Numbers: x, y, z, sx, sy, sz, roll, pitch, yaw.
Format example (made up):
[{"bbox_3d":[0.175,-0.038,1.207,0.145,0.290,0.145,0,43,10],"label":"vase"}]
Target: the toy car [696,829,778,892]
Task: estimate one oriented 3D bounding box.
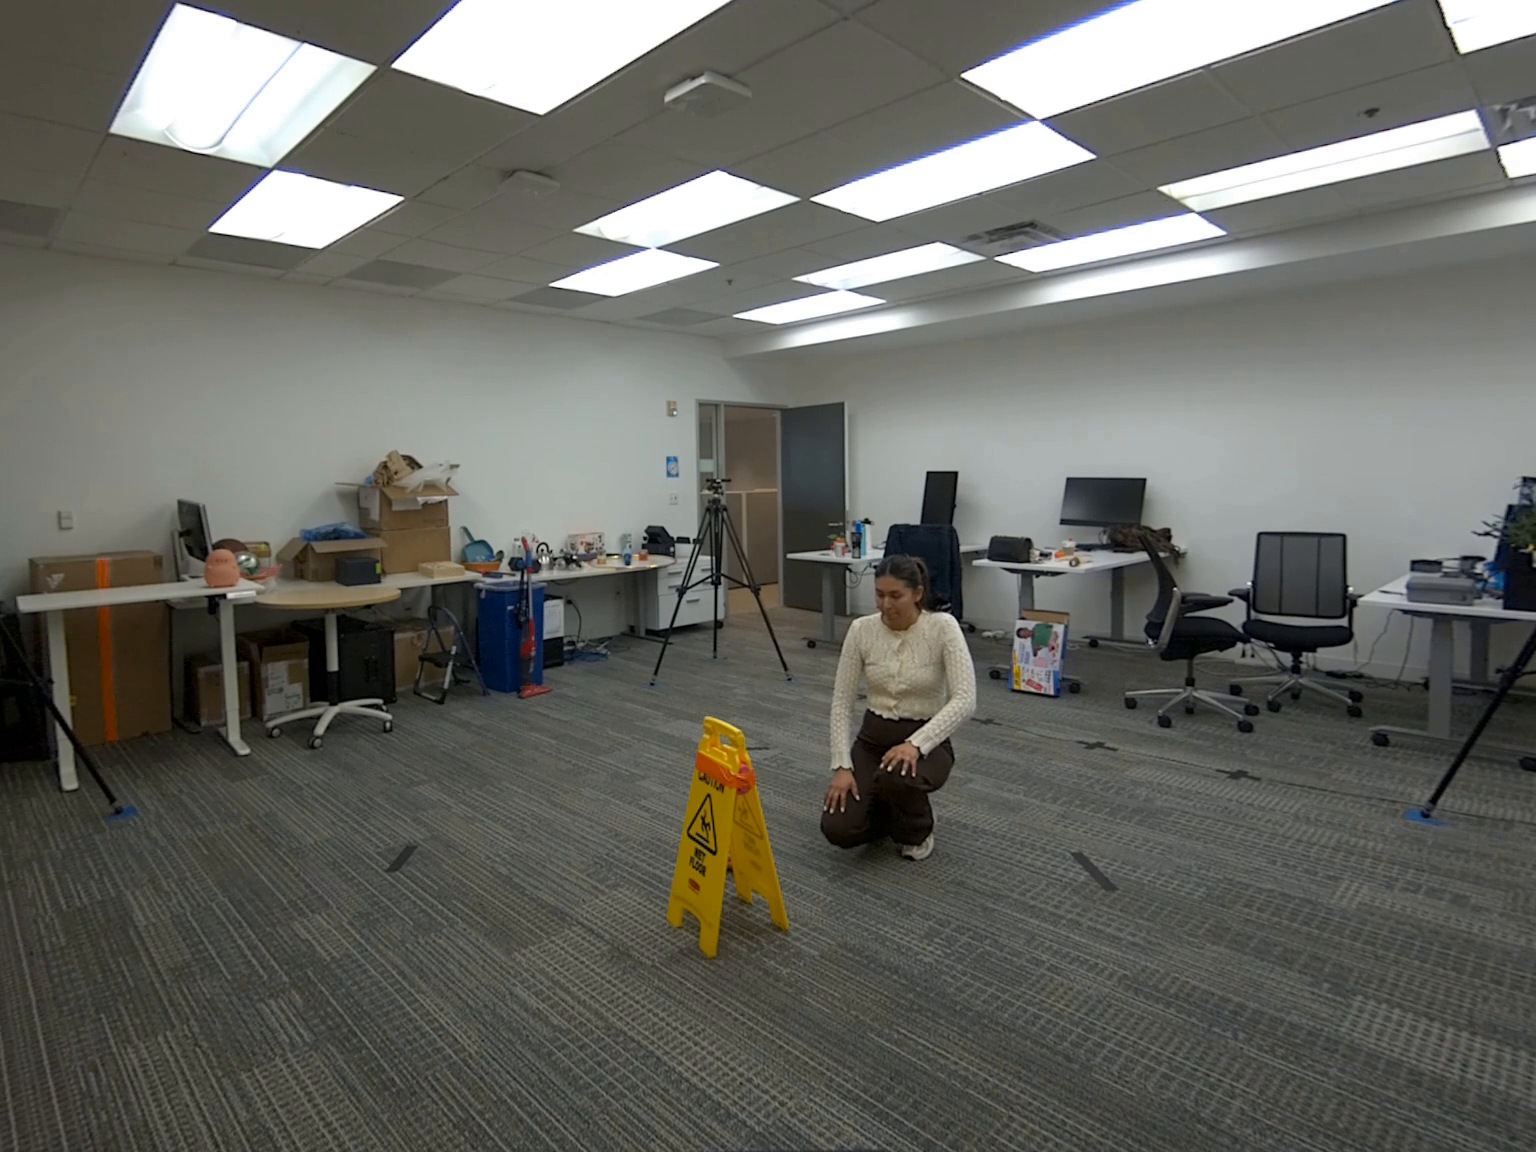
[{"bbox_3d":[-0.114,1.018,3.082,0.261,0.082,0.128,13,13,25],"label":"toy car"}]
